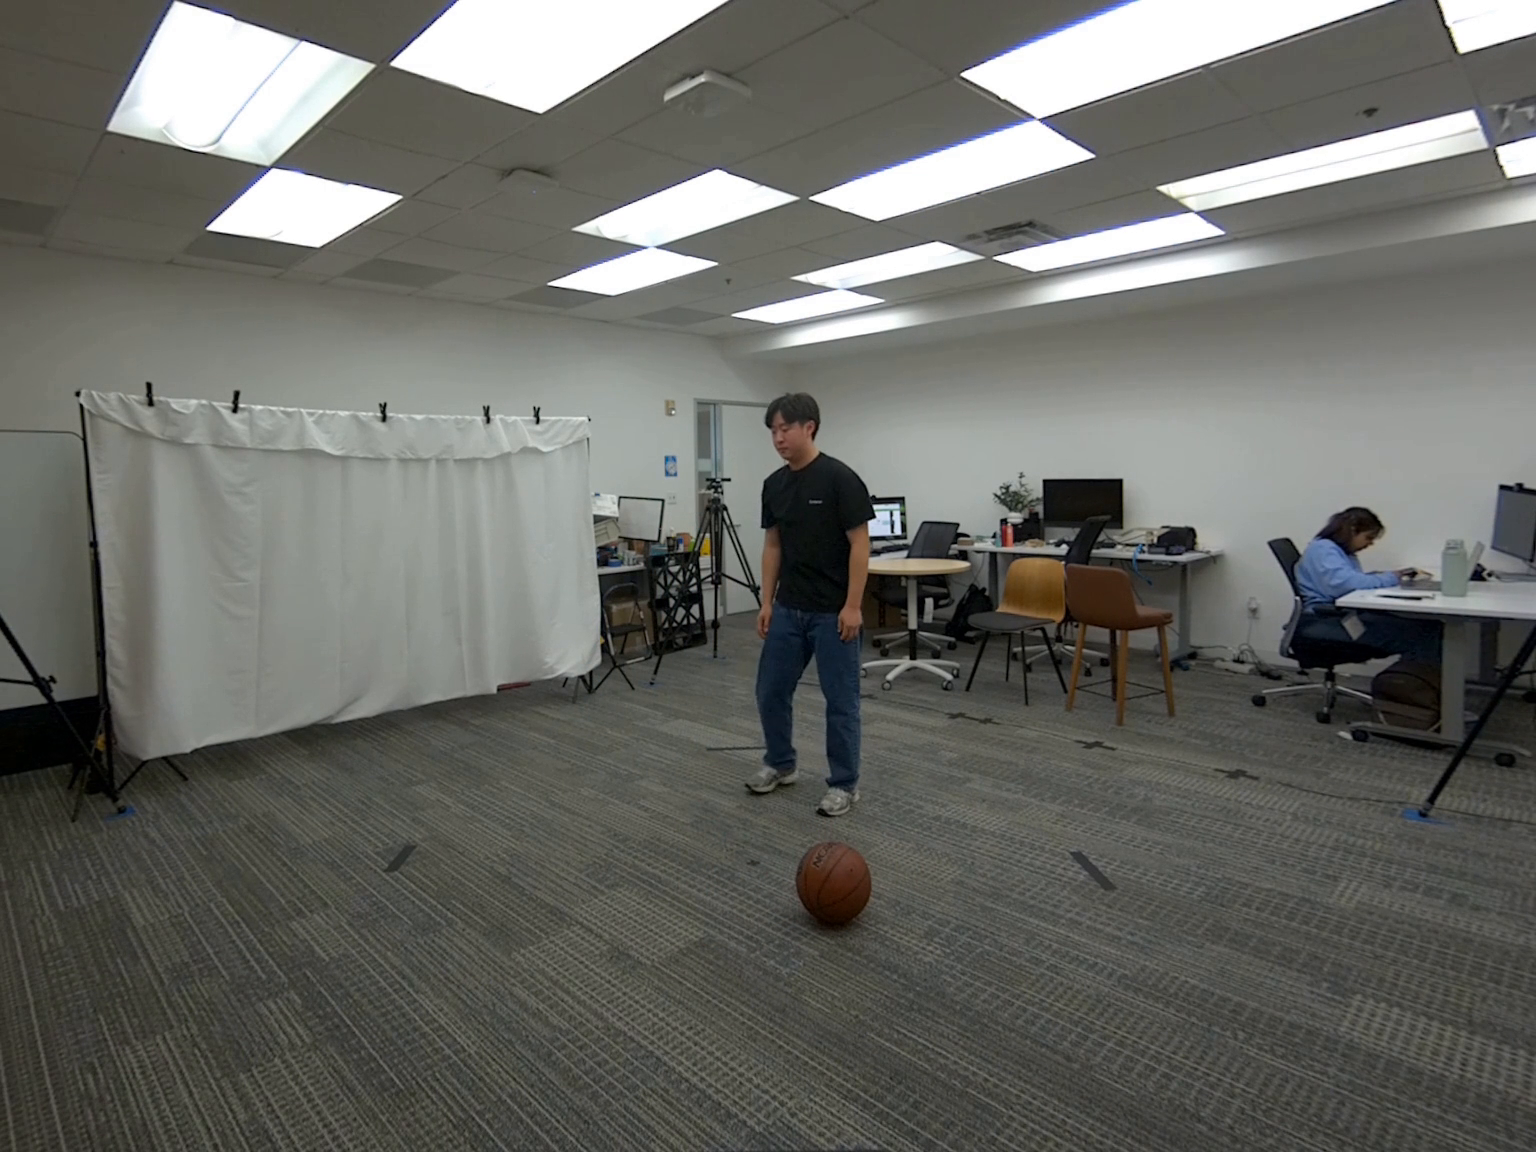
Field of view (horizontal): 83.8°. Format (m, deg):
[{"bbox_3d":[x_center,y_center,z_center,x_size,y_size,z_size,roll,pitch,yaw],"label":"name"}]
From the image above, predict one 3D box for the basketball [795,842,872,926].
[{"bbox_3d":[0.204,0.965,2.696,0.236,0.235,0.237,-1,5,-2],"label":"basketball"}]
